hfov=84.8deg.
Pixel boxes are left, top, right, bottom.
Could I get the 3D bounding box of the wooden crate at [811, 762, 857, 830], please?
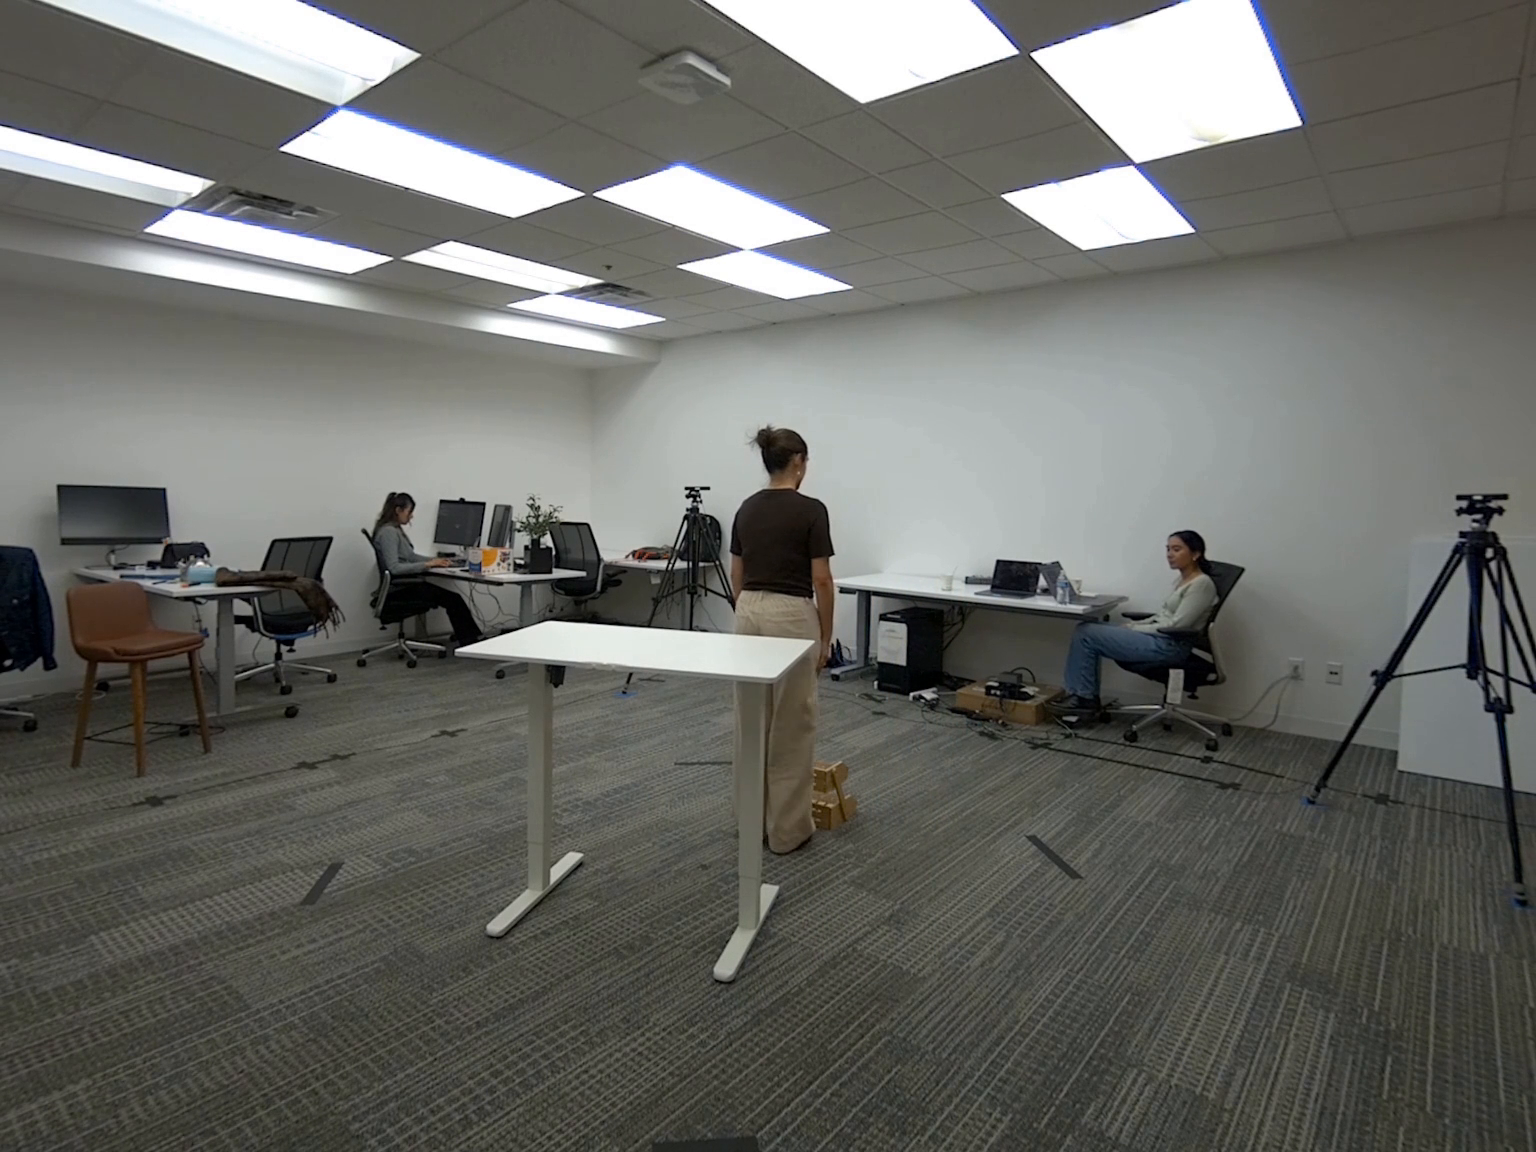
[{"bbox_3d":[0.176,0.886,3.637,0.335,0.272,0.294,4,6,33],"label":"wooden crate"}]
